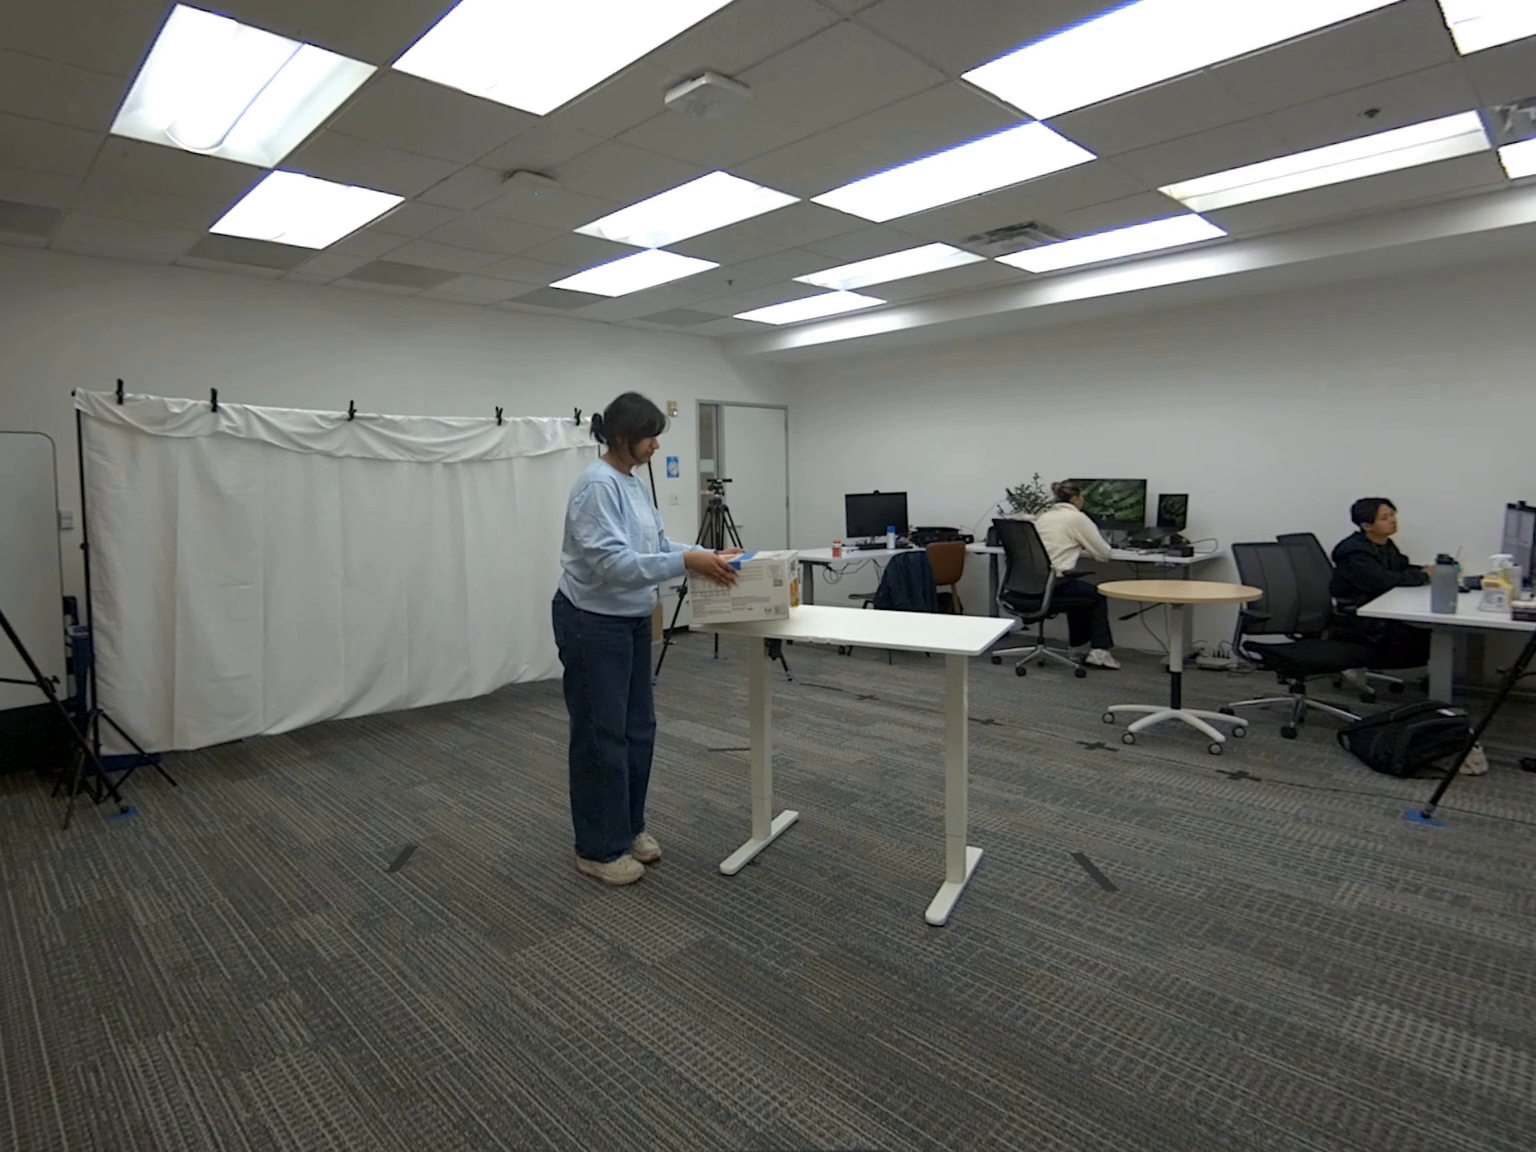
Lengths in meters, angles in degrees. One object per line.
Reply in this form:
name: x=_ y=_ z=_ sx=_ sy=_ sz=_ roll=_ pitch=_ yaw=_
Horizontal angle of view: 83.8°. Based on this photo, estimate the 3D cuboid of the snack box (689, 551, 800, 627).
snack box: x=-0.086 y=0.039 z=3.031 sx=0.344 sy=0.205 sz=0.402 roll=-5 pitch=4 yaw=10
